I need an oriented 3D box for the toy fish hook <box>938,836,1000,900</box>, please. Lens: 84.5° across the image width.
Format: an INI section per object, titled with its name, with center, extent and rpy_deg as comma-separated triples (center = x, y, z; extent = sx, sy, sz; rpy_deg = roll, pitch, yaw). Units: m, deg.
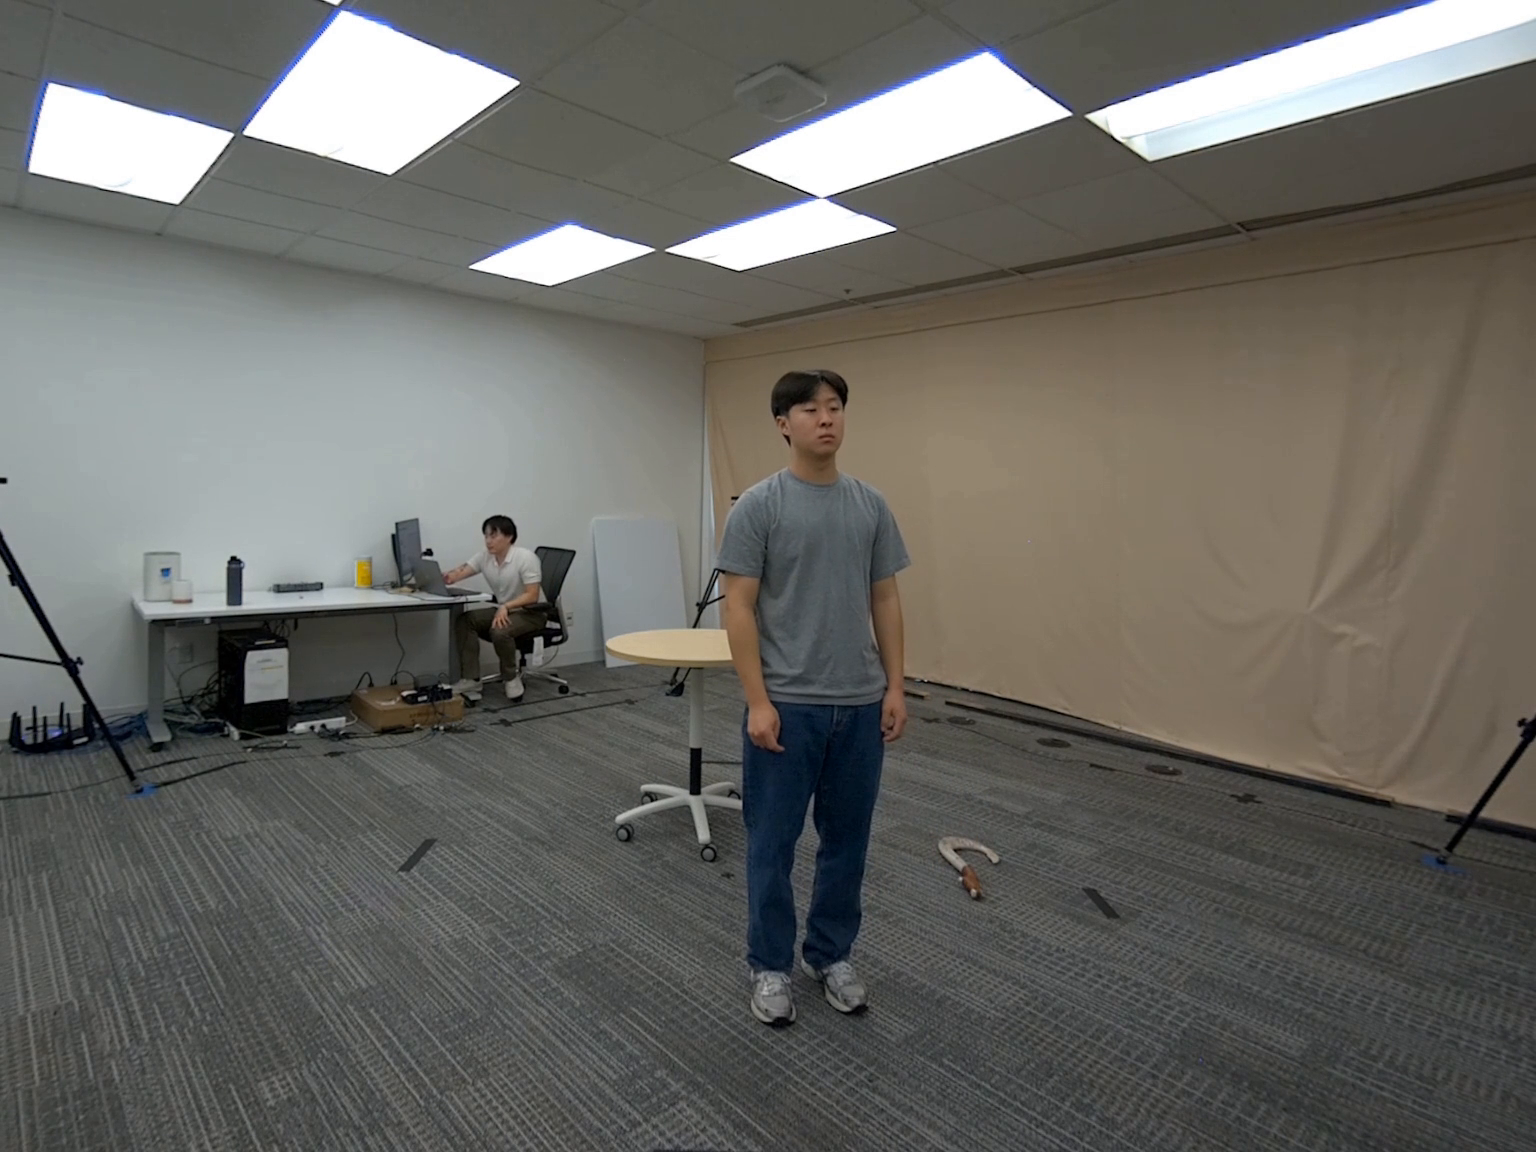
[toy fish hook]
center = 0.781, 1.099, 3.195
extent = 0.225, 0.048, 0.507
rpy_deg = 1, 6, 1
